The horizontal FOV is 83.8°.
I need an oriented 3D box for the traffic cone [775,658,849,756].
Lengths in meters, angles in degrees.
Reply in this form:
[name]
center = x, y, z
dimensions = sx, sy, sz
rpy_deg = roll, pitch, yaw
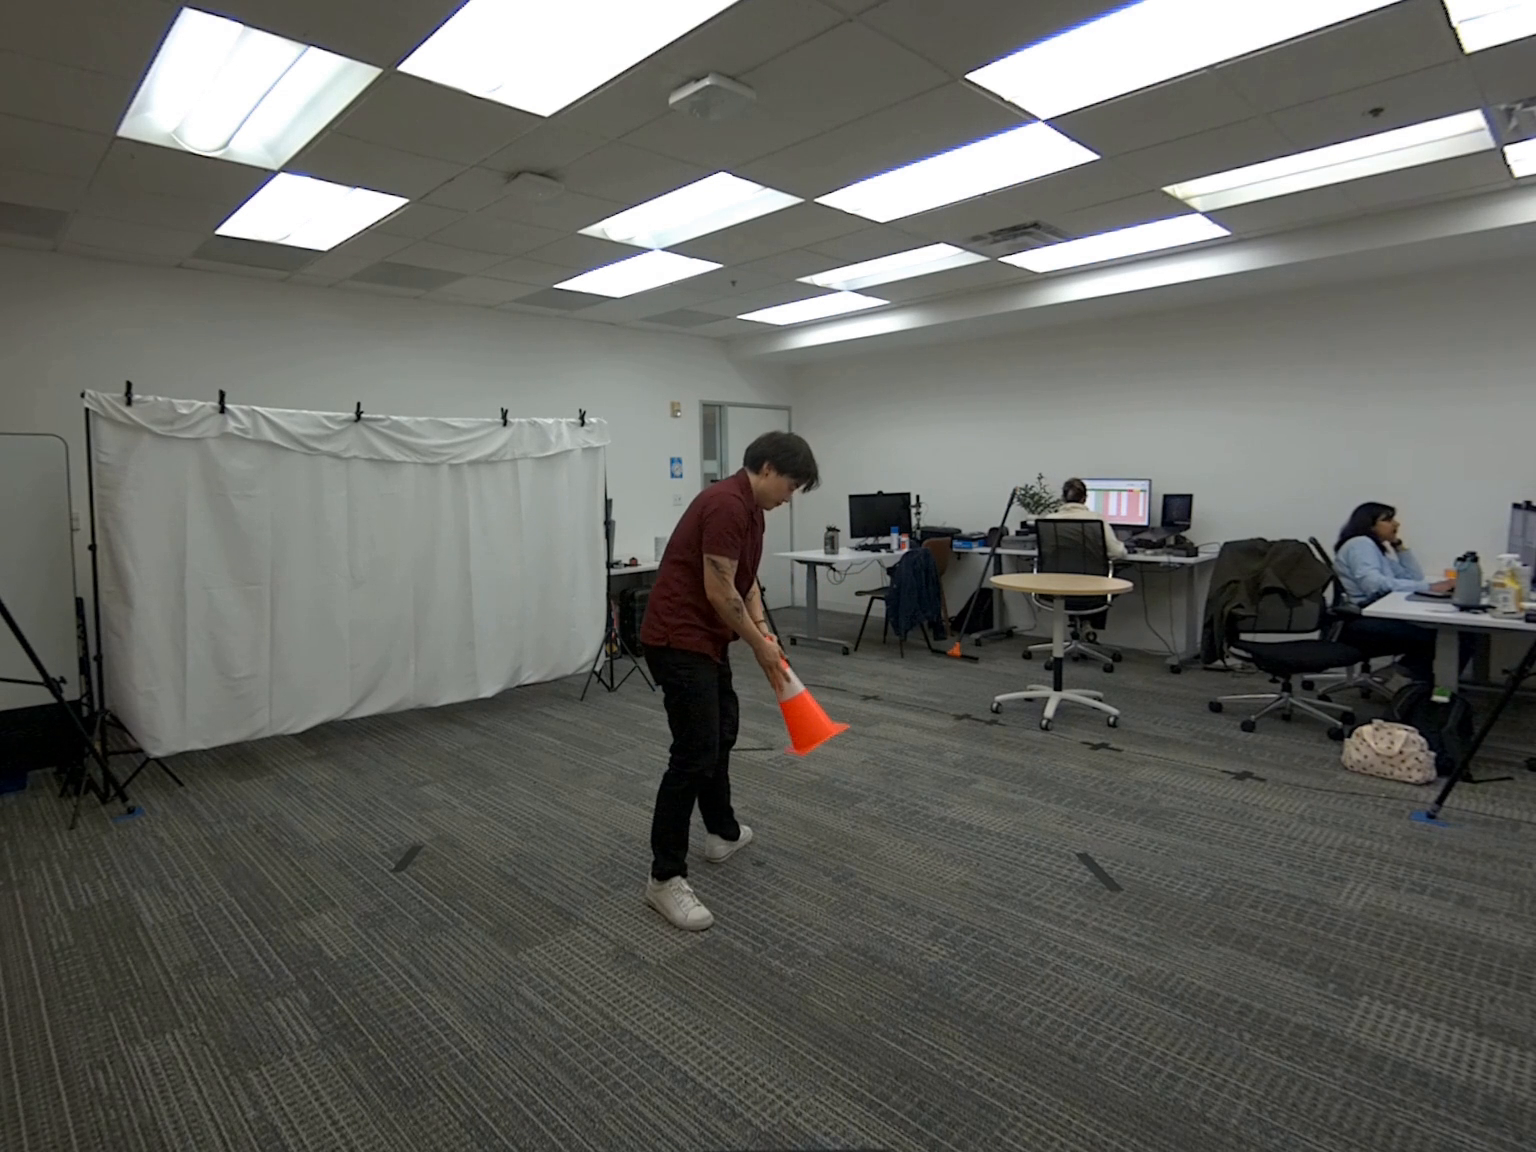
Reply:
[traffic cone]
center = 0.069, 0.389, 2.890
dimensions = 0.201, 0.385, 0.206
rpy_deg = -28, -2, -20
